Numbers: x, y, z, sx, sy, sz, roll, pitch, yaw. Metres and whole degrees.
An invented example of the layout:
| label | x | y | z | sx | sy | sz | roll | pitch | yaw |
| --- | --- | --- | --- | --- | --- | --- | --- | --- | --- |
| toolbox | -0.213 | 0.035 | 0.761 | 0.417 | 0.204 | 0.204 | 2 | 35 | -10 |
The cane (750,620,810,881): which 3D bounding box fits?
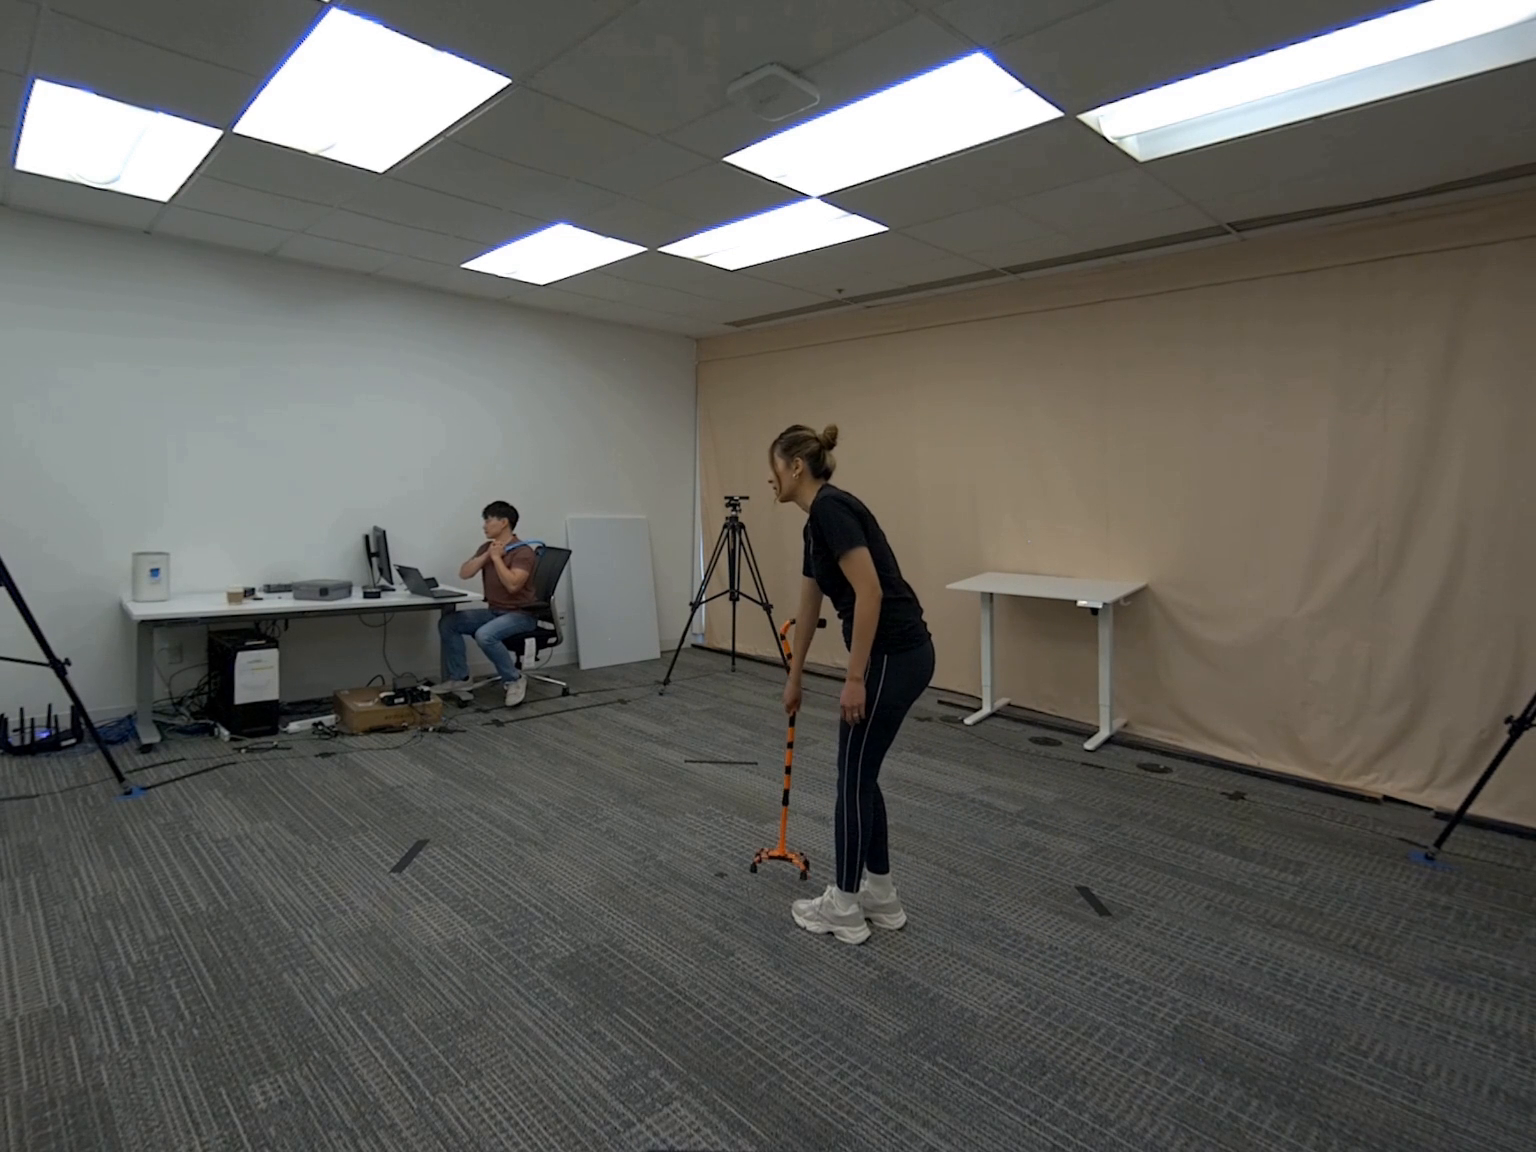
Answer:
| label | x | y | z | sx | sy | sz | roll | pitch | yaw |
| --- | --- | --- | --- | --- | --- | --- | --- | --- | --- |
| cane | 0.072 | 0.603 | 3.036 | 0.208 | 0.909 | 0.150 | 4 | -2 | 7 |
